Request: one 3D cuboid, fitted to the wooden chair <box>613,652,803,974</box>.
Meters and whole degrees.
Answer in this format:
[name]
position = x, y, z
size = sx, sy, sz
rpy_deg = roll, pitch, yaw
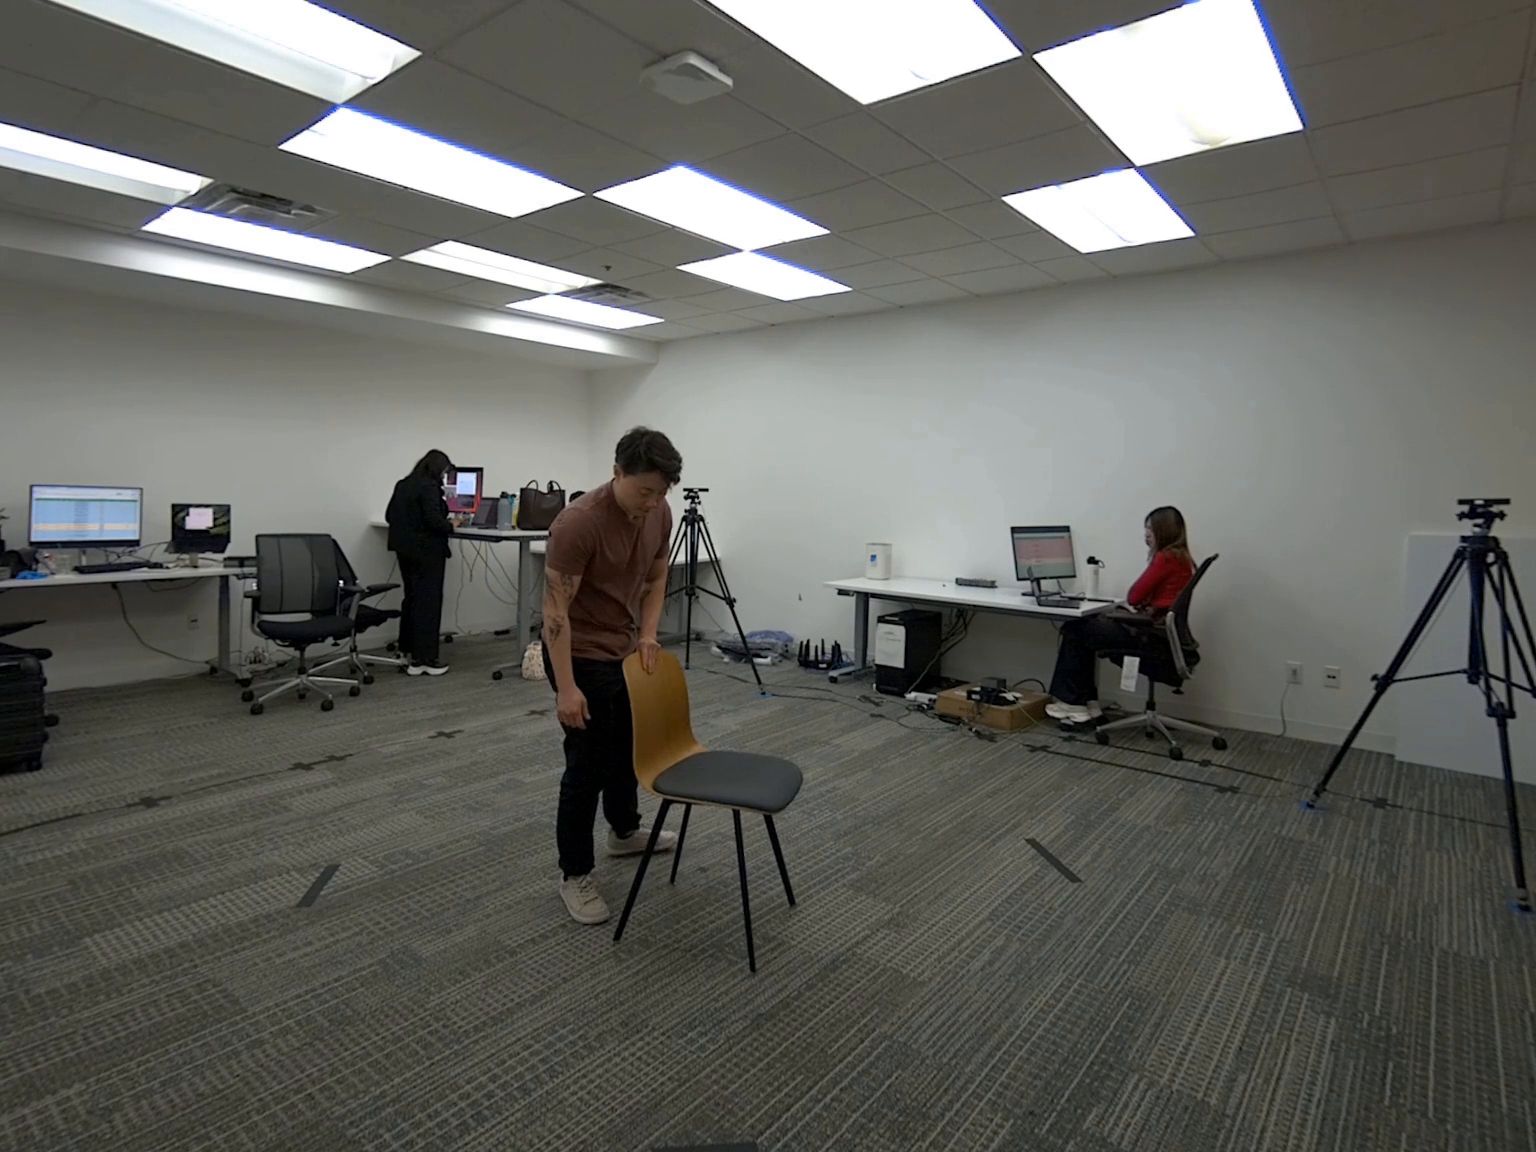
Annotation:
[wooden chair]
position = -0.172, 0.683, 2.702
size = 0.533, 0.877, 0.469
rpy_deg = -2, 1, 19
